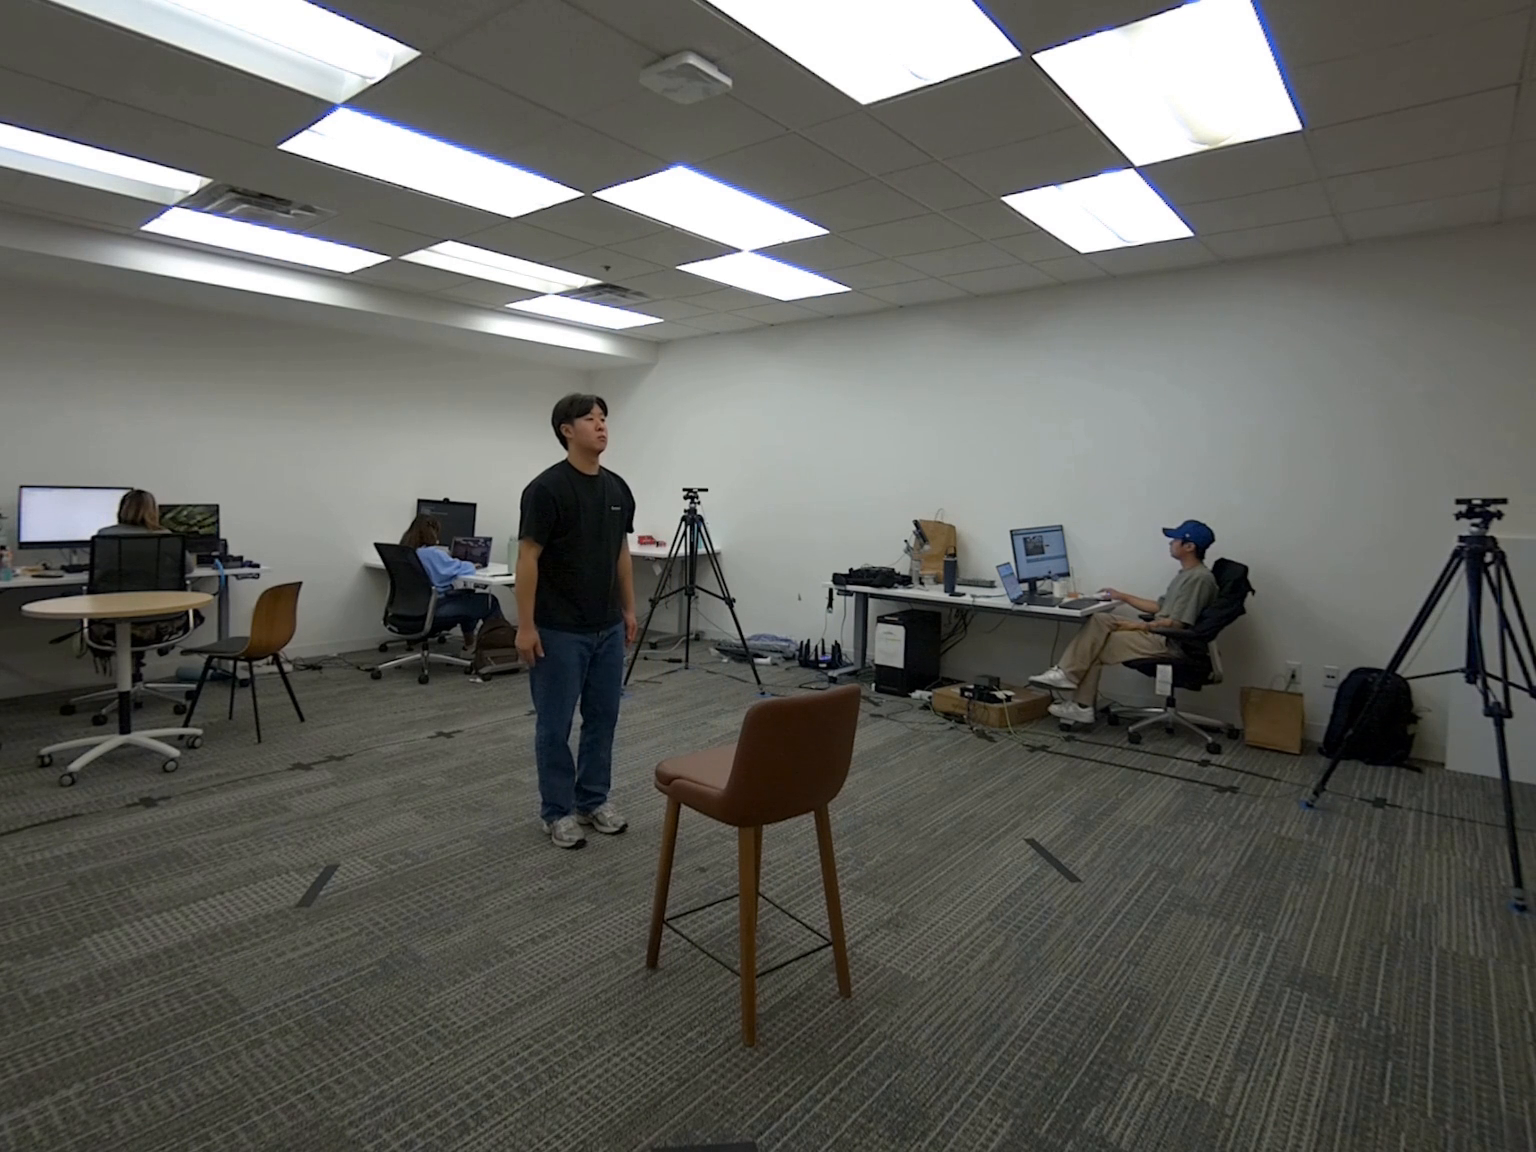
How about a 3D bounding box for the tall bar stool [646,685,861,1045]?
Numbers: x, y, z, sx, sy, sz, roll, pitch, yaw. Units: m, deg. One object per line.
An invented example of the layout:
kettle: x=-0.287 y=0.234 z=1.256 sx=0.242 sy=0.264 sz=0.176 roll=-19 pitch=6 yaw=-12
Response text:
tall bar stool: x=-0.046 y=0.706 z=2.387 sx=0.443 sy=0.886 sz=0.484 roll=-1 pitch=6 yaw=-40
